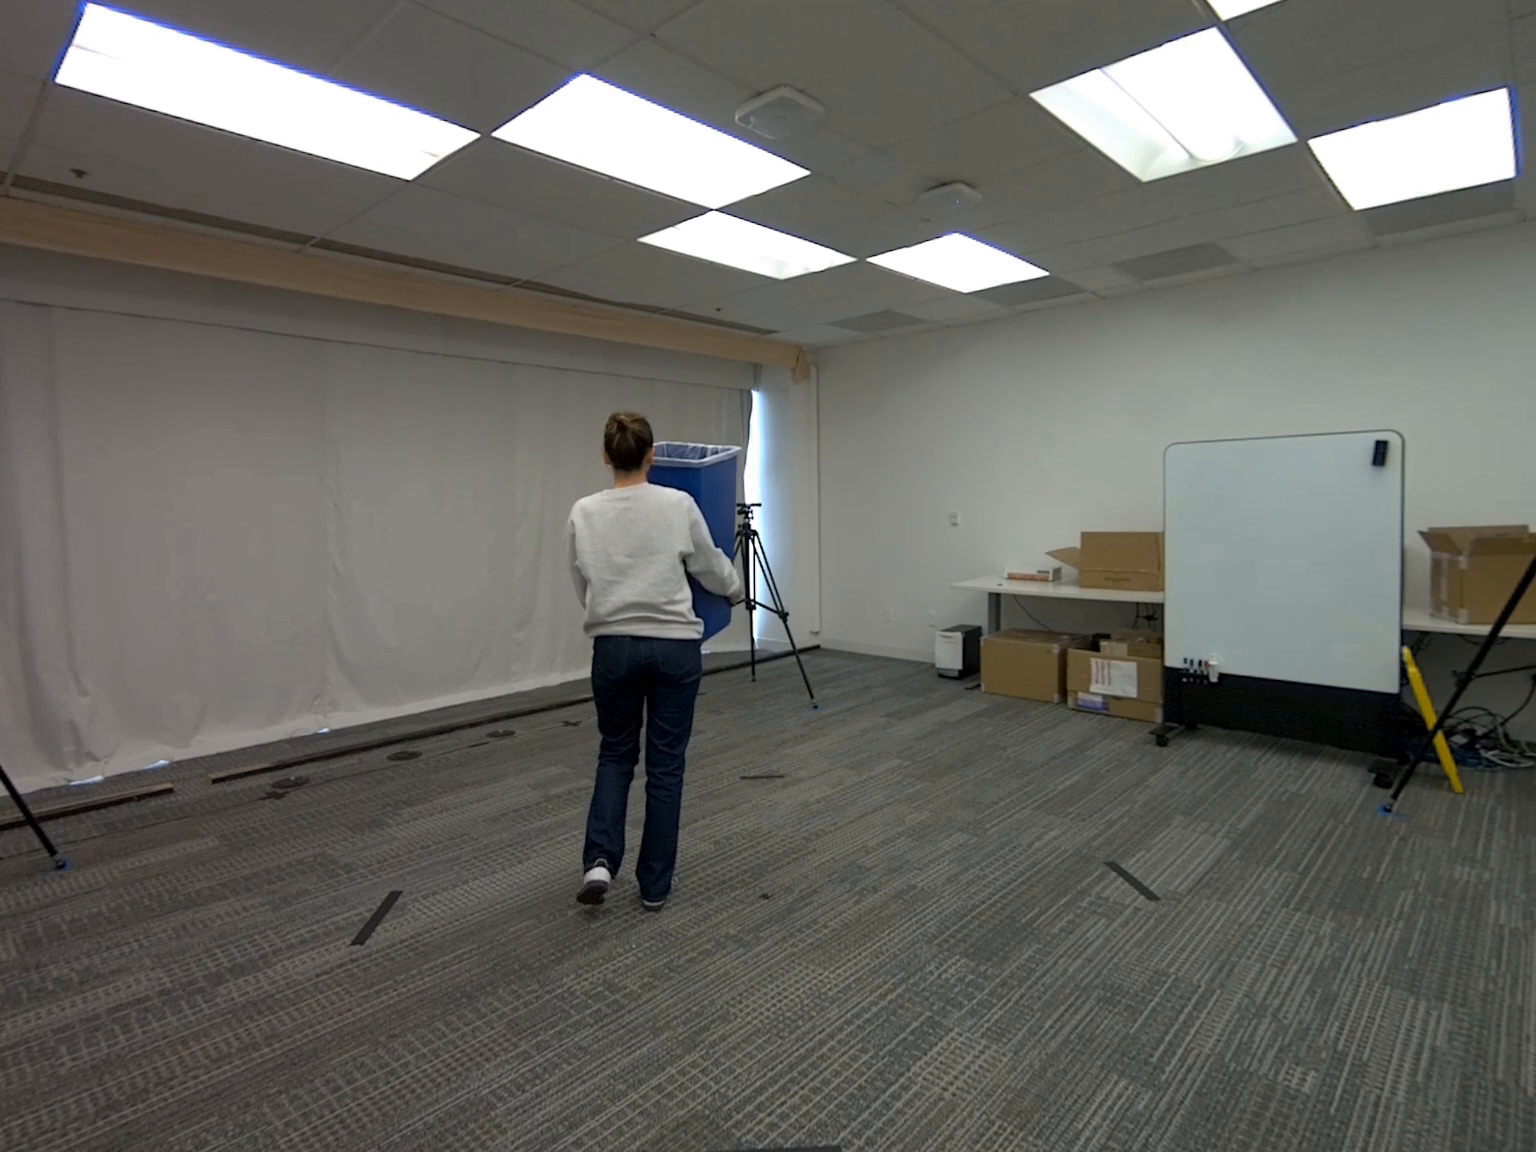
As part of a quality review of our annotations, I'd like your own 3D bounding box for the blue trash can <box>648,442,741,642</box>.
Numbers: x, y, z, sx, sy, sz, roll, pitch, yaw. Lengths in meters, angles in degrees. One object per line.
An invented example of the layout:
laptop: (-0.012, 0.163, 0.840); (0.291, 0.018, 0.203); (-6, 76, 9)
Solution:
blue trash can: (-0.333, -0.133, 3.257); (0.388, 0.707, 0.368); (7, 16, 23)
